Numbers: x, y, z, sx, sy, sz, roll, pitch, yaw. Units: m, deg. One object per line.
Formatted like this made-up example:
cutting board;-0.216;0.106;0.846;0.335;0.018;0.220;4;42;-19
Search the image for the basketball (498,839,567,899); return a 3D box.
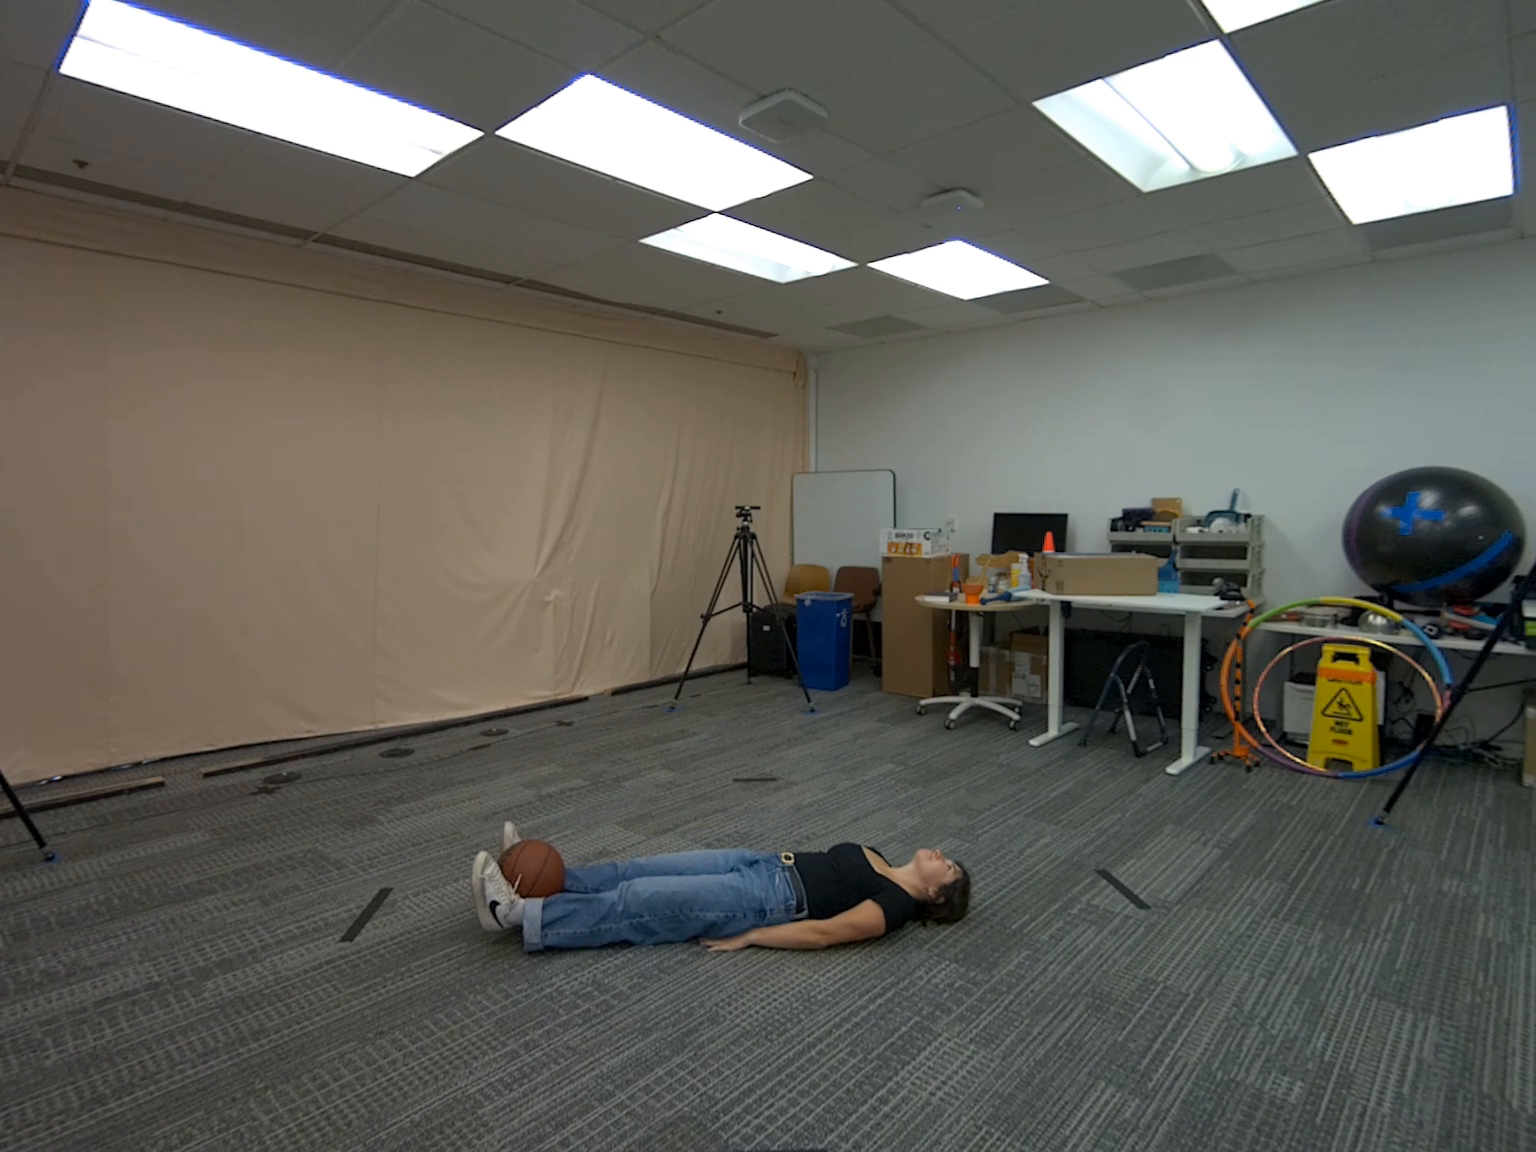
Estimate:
basketball;-0.793;1.000;2.804;0.236;0.235;0.237;0;4;-2
